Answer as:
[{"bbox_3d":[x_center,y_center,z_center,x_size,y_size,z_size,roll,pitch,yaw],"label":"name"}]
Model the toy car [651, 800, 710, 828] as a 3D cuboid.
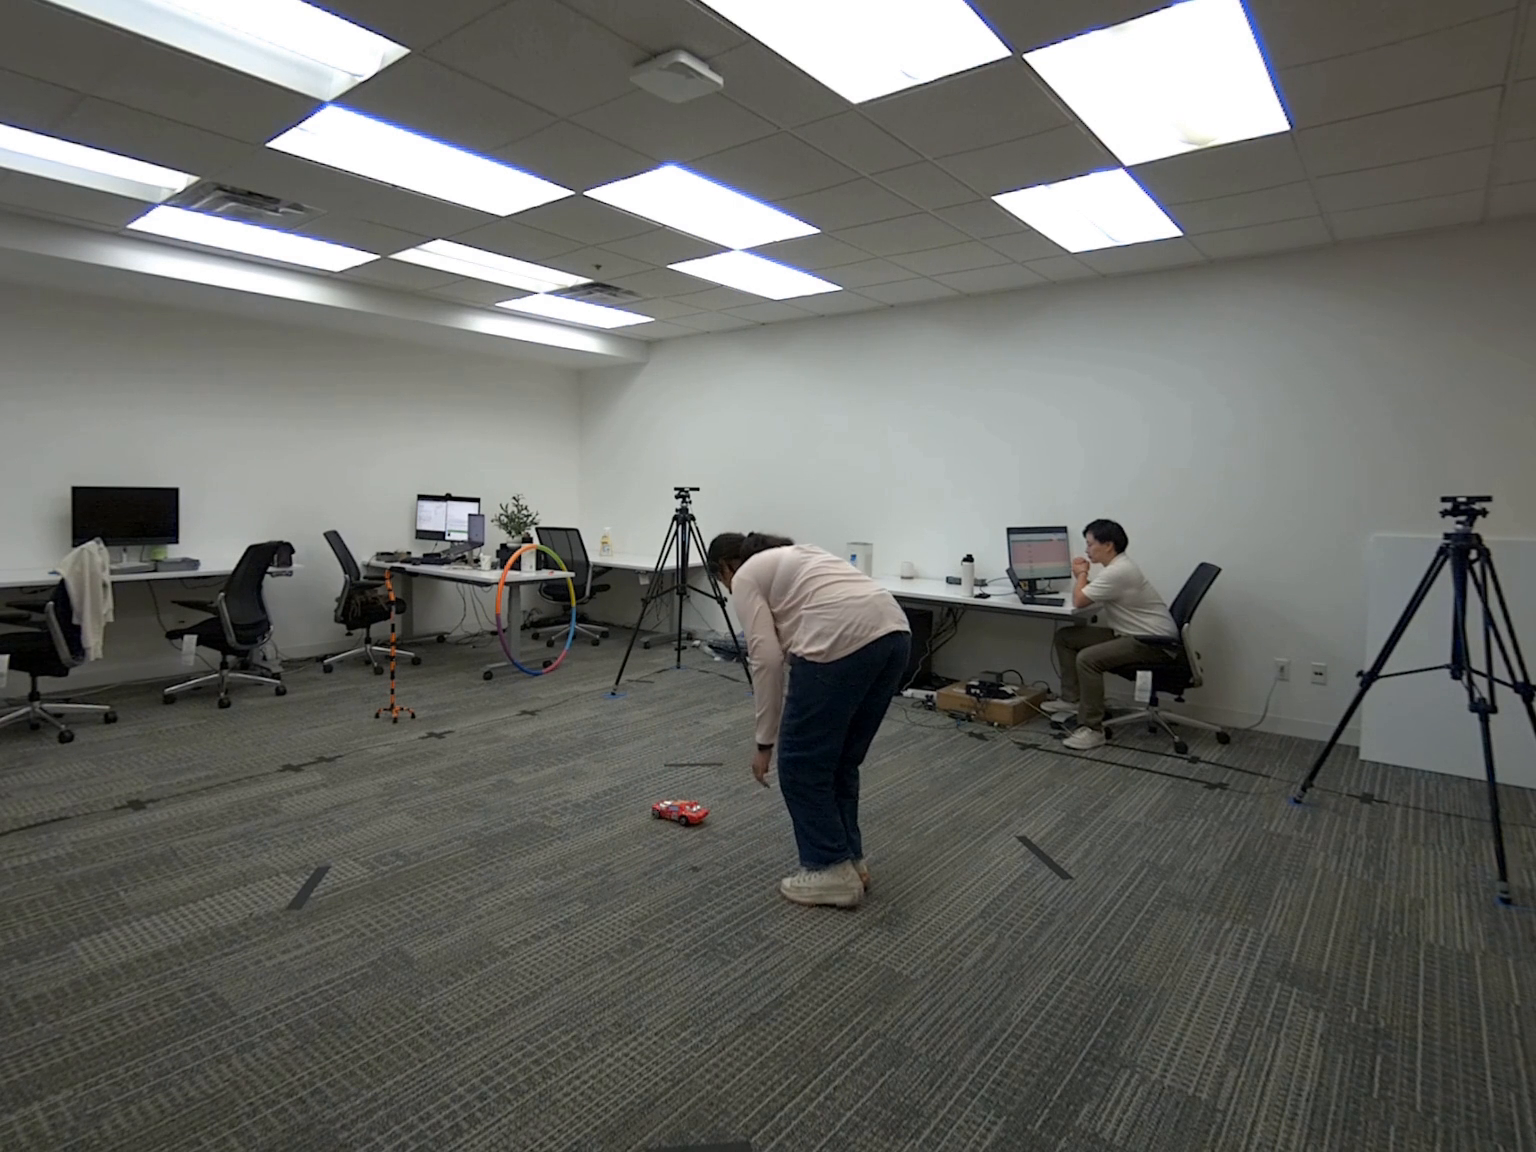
[{"bbox_3d":[-0.374,0.985,3.567,0.261,0.083,0.127,-8,-1,32],"label":"toy car"}]
